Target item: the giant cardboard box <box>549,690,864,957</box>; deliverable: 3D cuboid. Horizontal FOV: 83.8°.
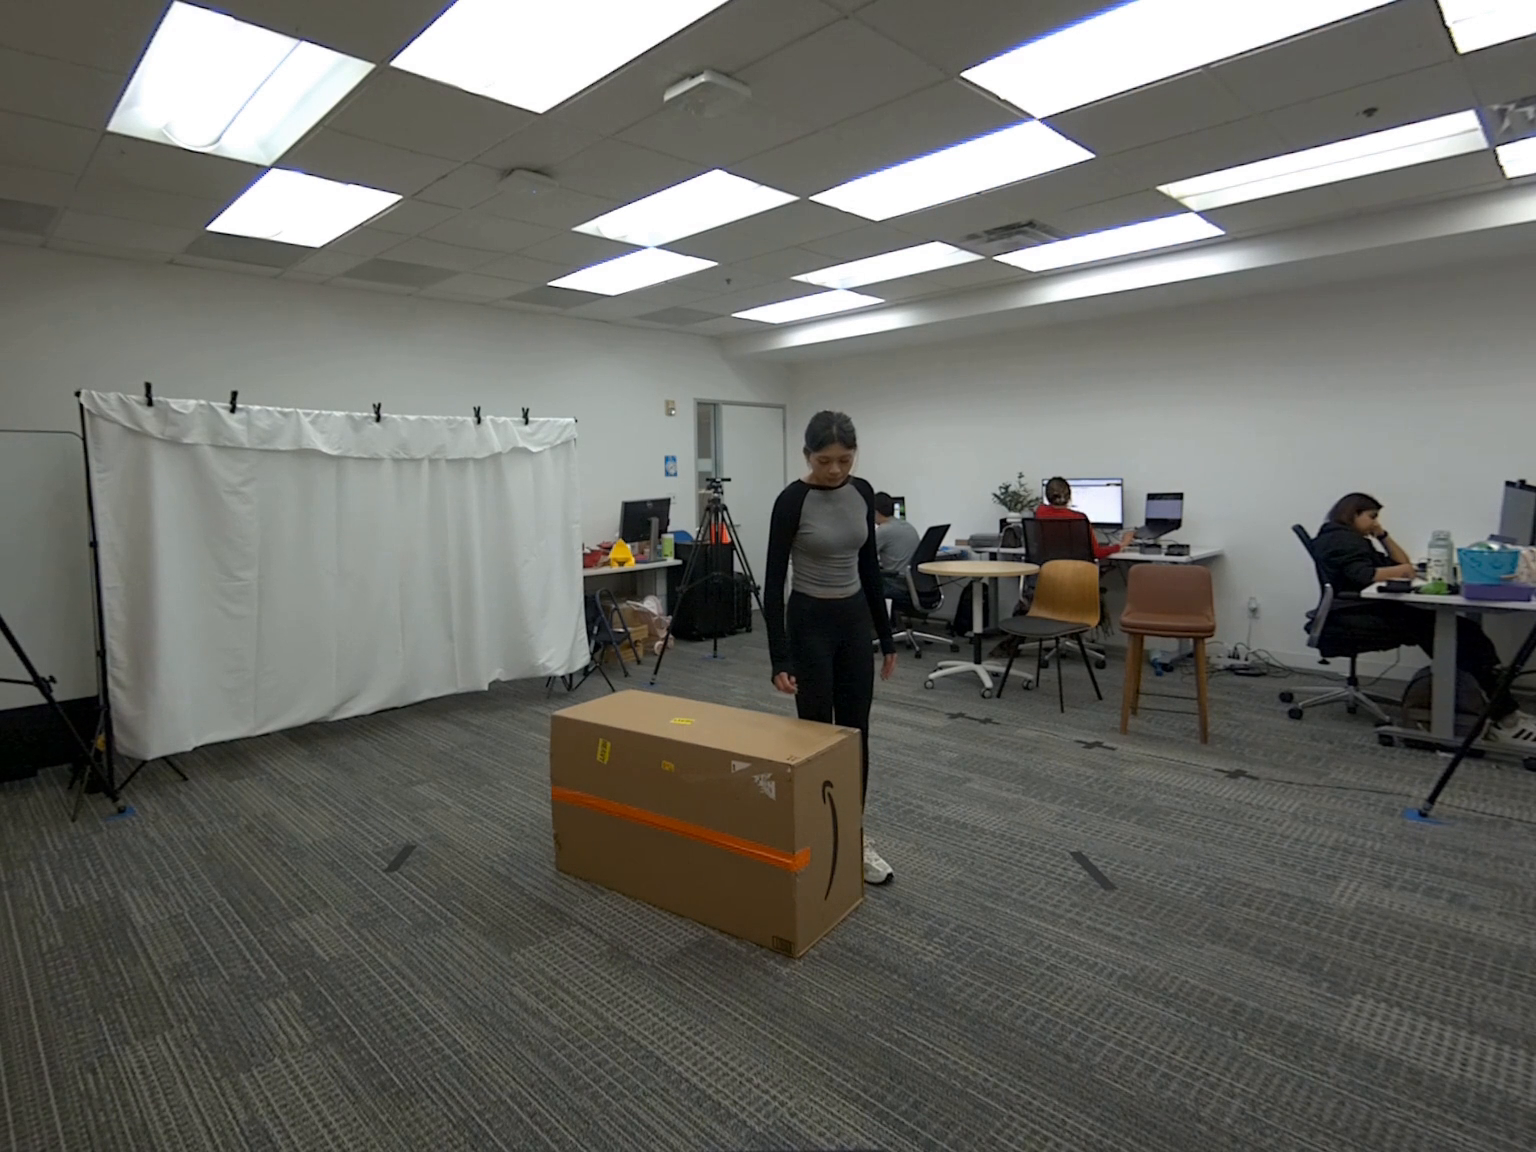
[{"bbox_3d":[-0.234,0.780,2.925,1.056,0.576,0.415,3,5,36],"label":"giant cardboard box"}]
